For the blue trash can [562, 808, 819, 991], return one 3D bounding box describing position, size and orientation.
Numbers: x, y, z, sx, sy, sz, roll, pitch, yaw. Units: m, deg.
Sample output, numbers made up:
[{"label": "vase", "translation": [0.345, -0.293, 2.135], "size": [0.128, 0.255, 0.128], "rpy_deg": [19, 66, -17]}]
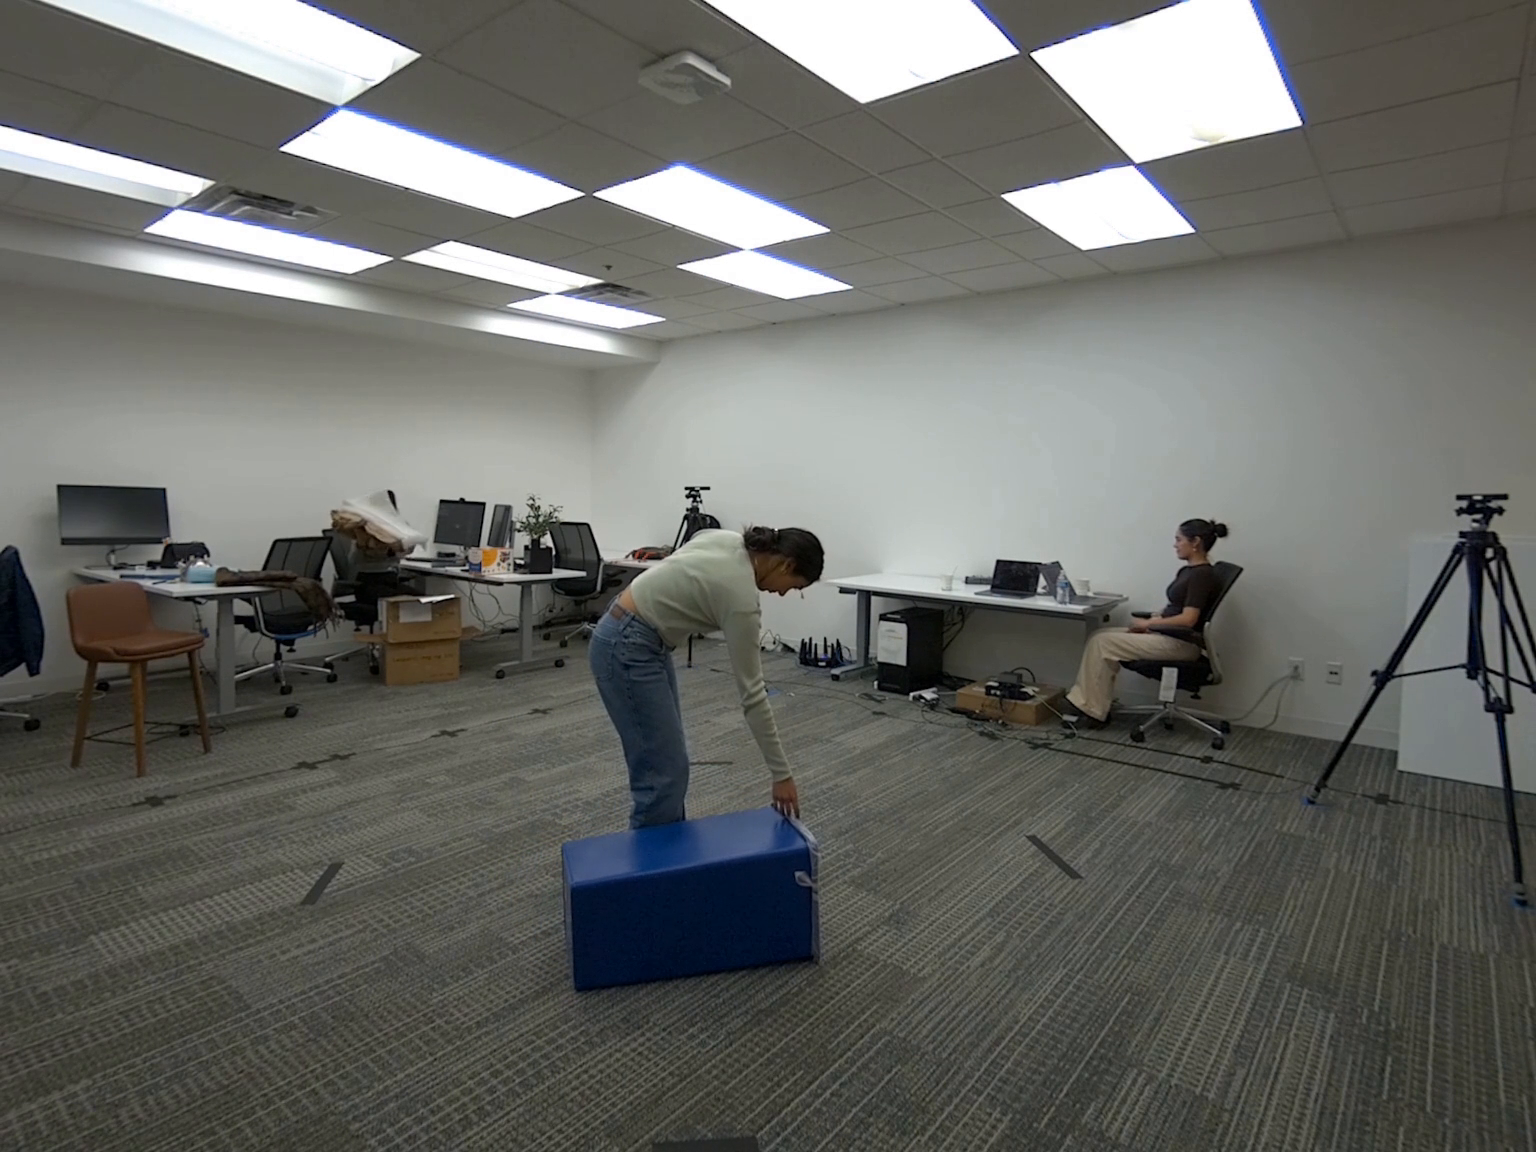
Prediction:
[{"label": "blue trash can", "translation": [-0.248, 0.940, 2.555], "size": [0.703, 0.376, 0.381], "rpy_deg": [-3, 5, -15]}]
